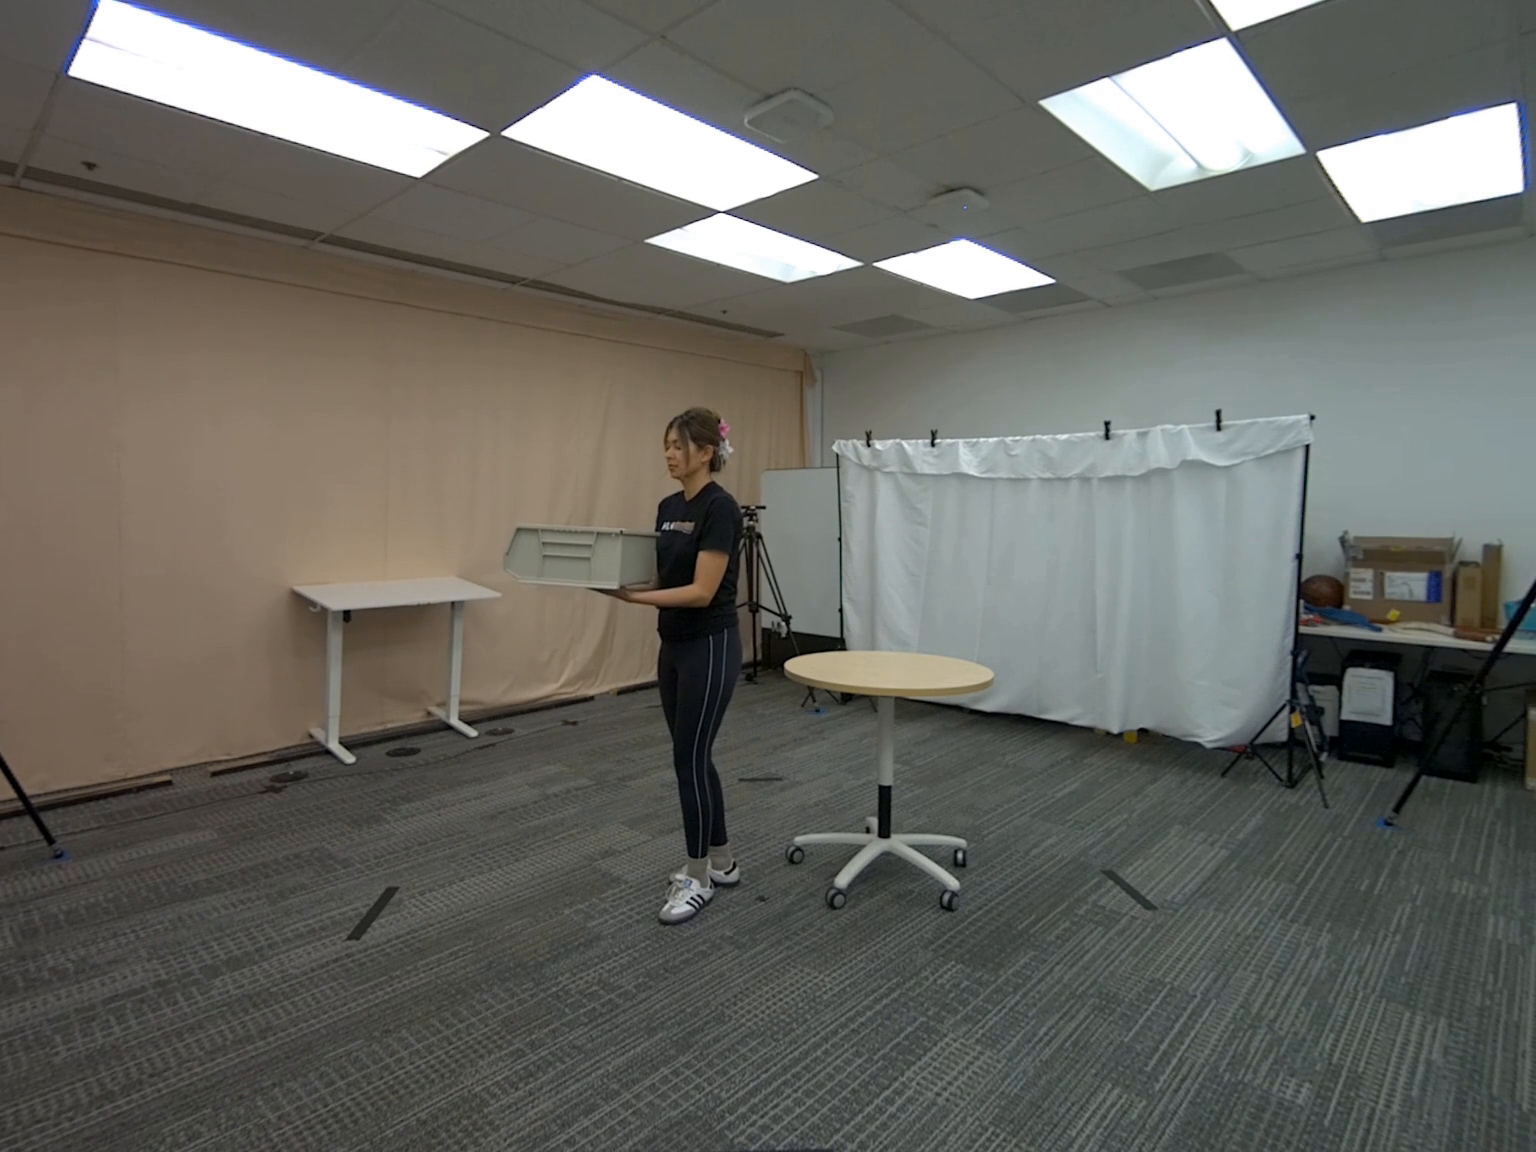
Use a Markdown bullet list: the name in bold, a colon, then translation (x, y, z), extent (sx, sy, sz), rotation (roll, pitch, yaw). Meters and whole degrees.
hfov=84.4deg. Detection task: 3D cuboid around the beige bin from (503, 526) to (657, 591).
- **beige bin**: translation (-0.602, -0.059, 2.707), extent (0.382, 0.189, 0.417), rotation (5, 1, 11)
